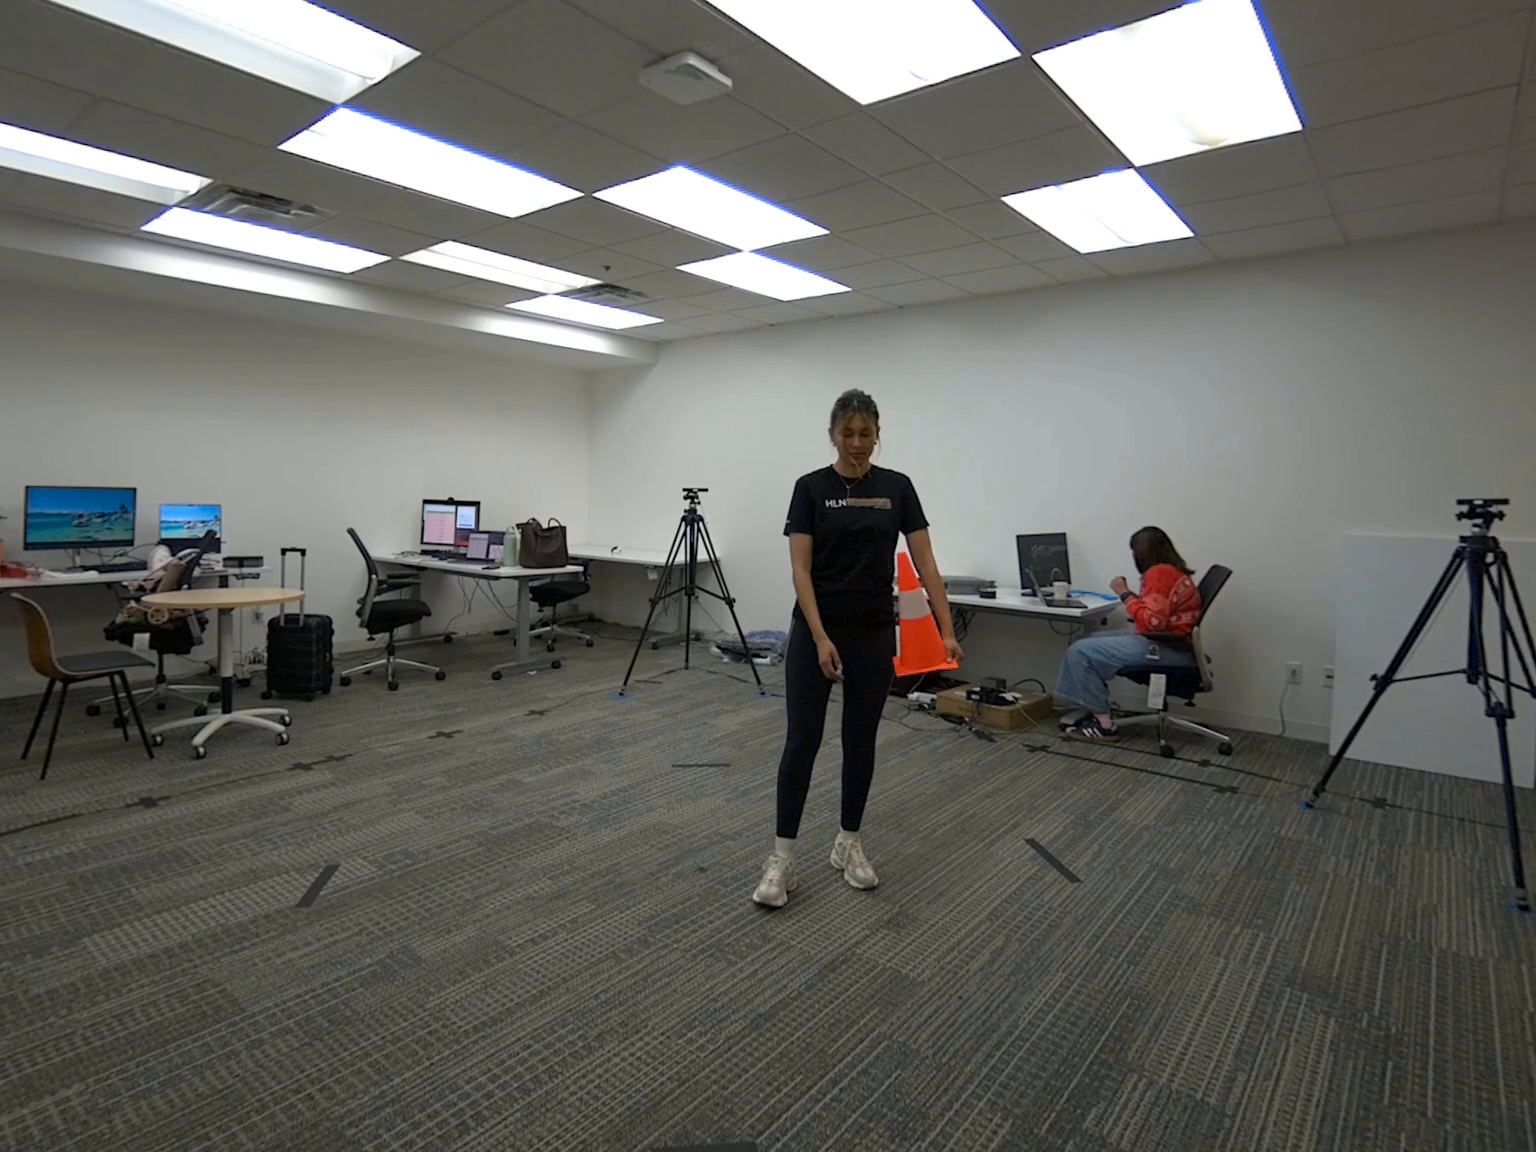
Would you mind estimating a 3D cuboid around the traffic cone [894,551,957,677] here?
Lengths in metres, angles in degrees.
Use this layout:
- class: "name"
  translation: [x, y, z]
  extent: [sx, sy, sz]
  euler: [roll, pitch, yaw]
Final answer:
- class: "traffic cone"
  translation: [0.478, 0.098, 2.826]
  extent: [0.202, 0.381, 0.207]
  euler: [-12, 5, -7]
